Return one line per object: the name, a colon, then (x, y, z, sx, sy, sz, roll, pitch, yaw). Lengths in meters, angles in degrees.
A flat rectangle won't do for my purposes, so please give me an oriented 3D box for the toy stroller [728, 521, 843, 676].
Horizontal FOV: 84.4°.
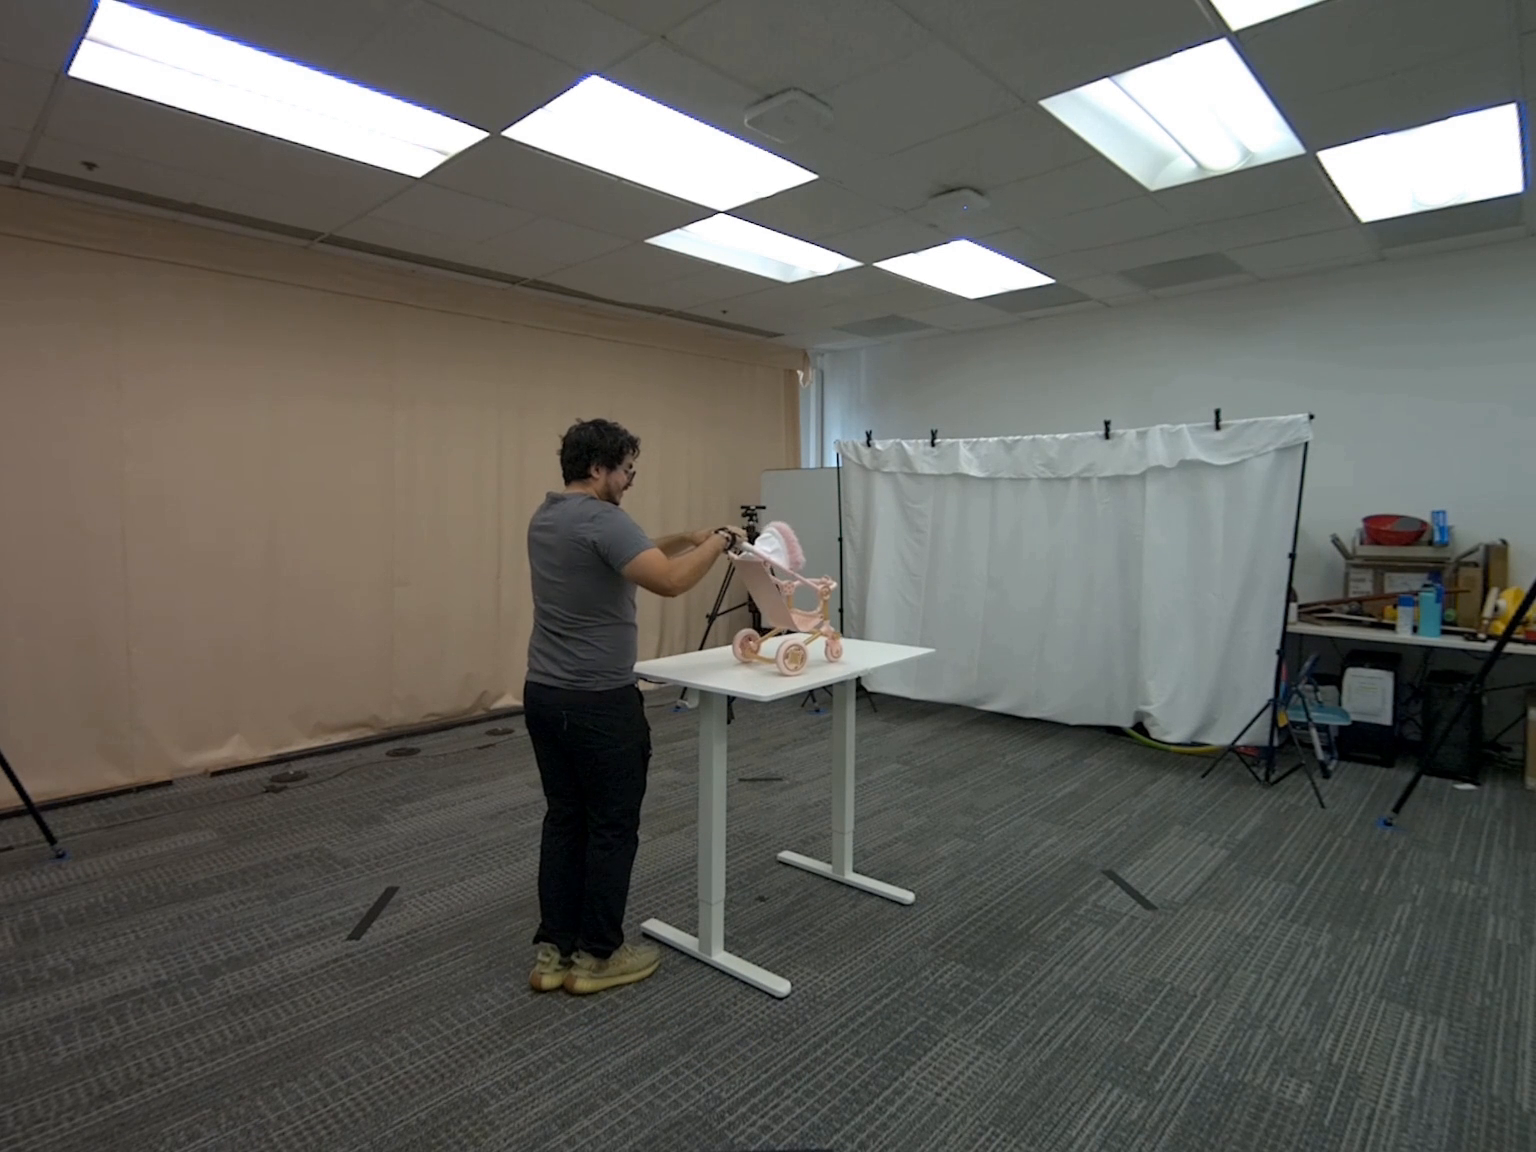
toy stroller: (0.052, 0.067, 2.634, 0.335, 0.530, 0.289, -19, 11, -25)
